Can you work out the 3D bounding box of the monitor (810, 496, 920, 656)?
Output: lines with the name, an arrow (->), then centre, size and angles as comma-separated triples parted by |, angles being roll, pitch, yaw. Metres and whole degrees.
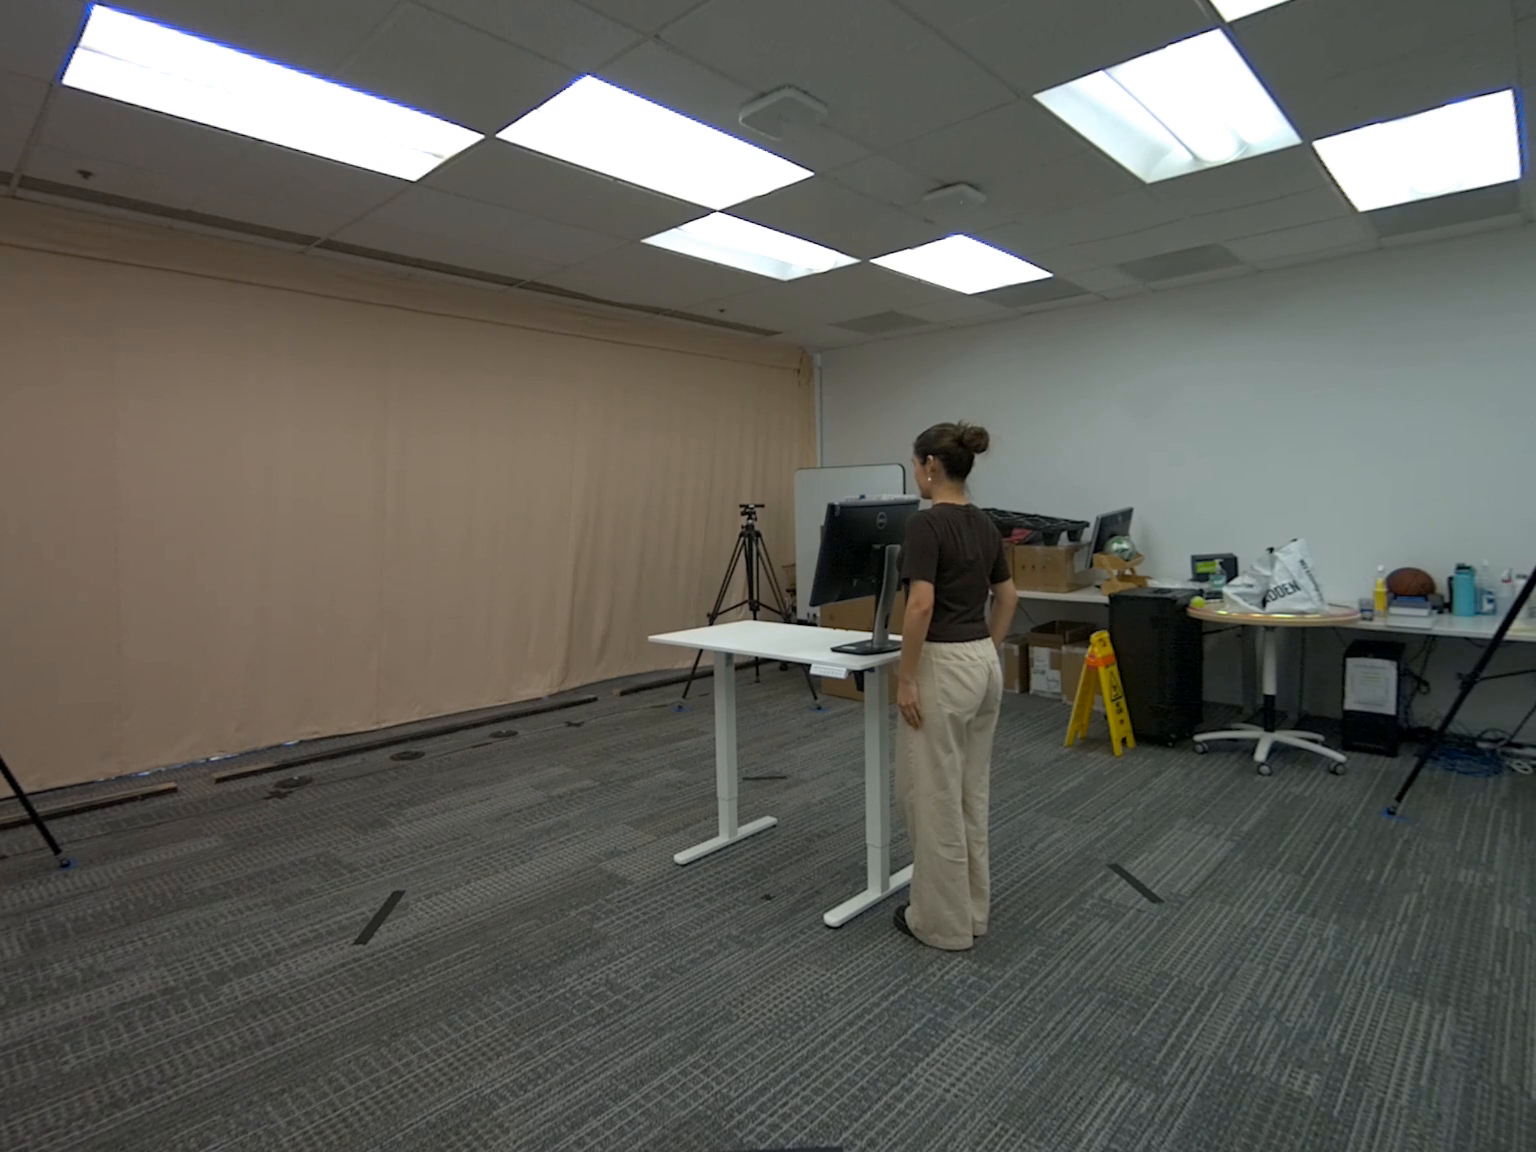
monitor -> 0.373, -0.003, 2.908 | 0.180, 0.515, 0.514 | -2, 4, 42
